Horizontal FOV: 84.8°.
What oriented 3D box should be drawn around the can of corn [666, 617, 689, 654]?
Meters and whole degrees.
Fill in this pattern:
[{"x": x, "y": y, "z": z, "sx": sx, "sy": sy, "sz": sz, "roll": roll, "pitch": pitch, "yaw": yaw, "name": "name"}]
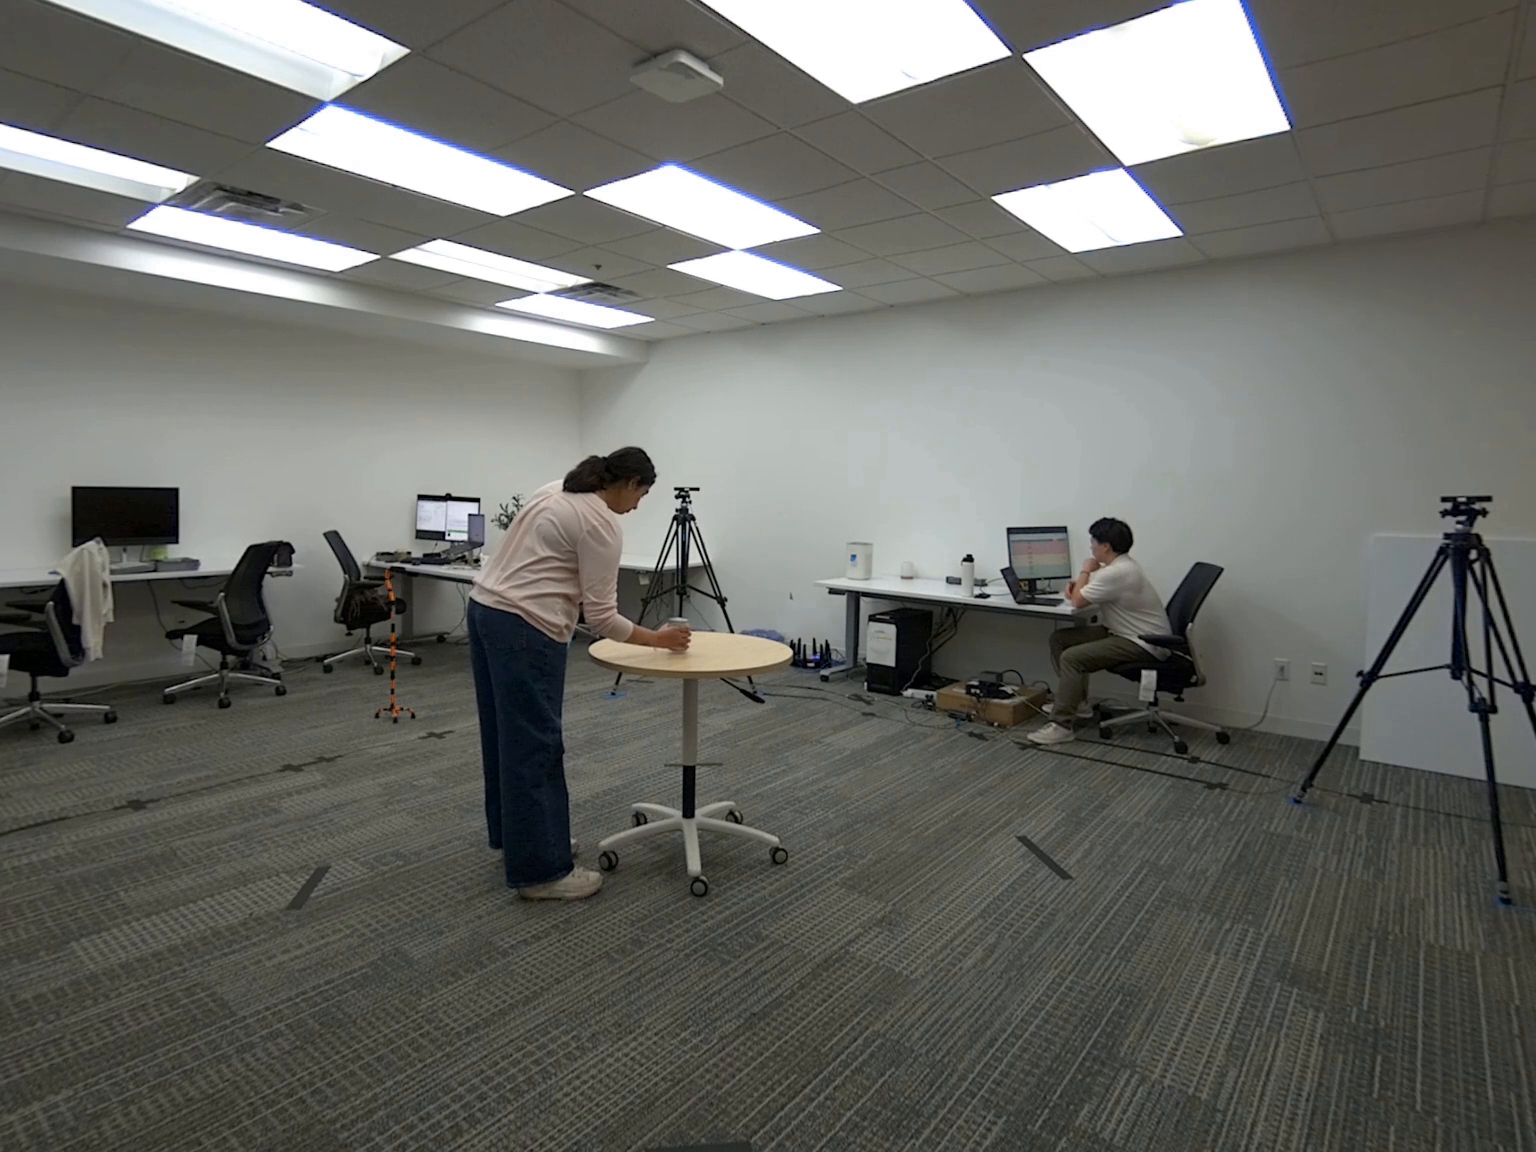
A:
[{"x": -0.337, "y": 0.218, "z": 3.116, "sx": 0.074, "sy": 0.110, "sz": 0.075, "roll": 1, "pitch": 12, "yaw": -2, "name": "can of corn"}]
